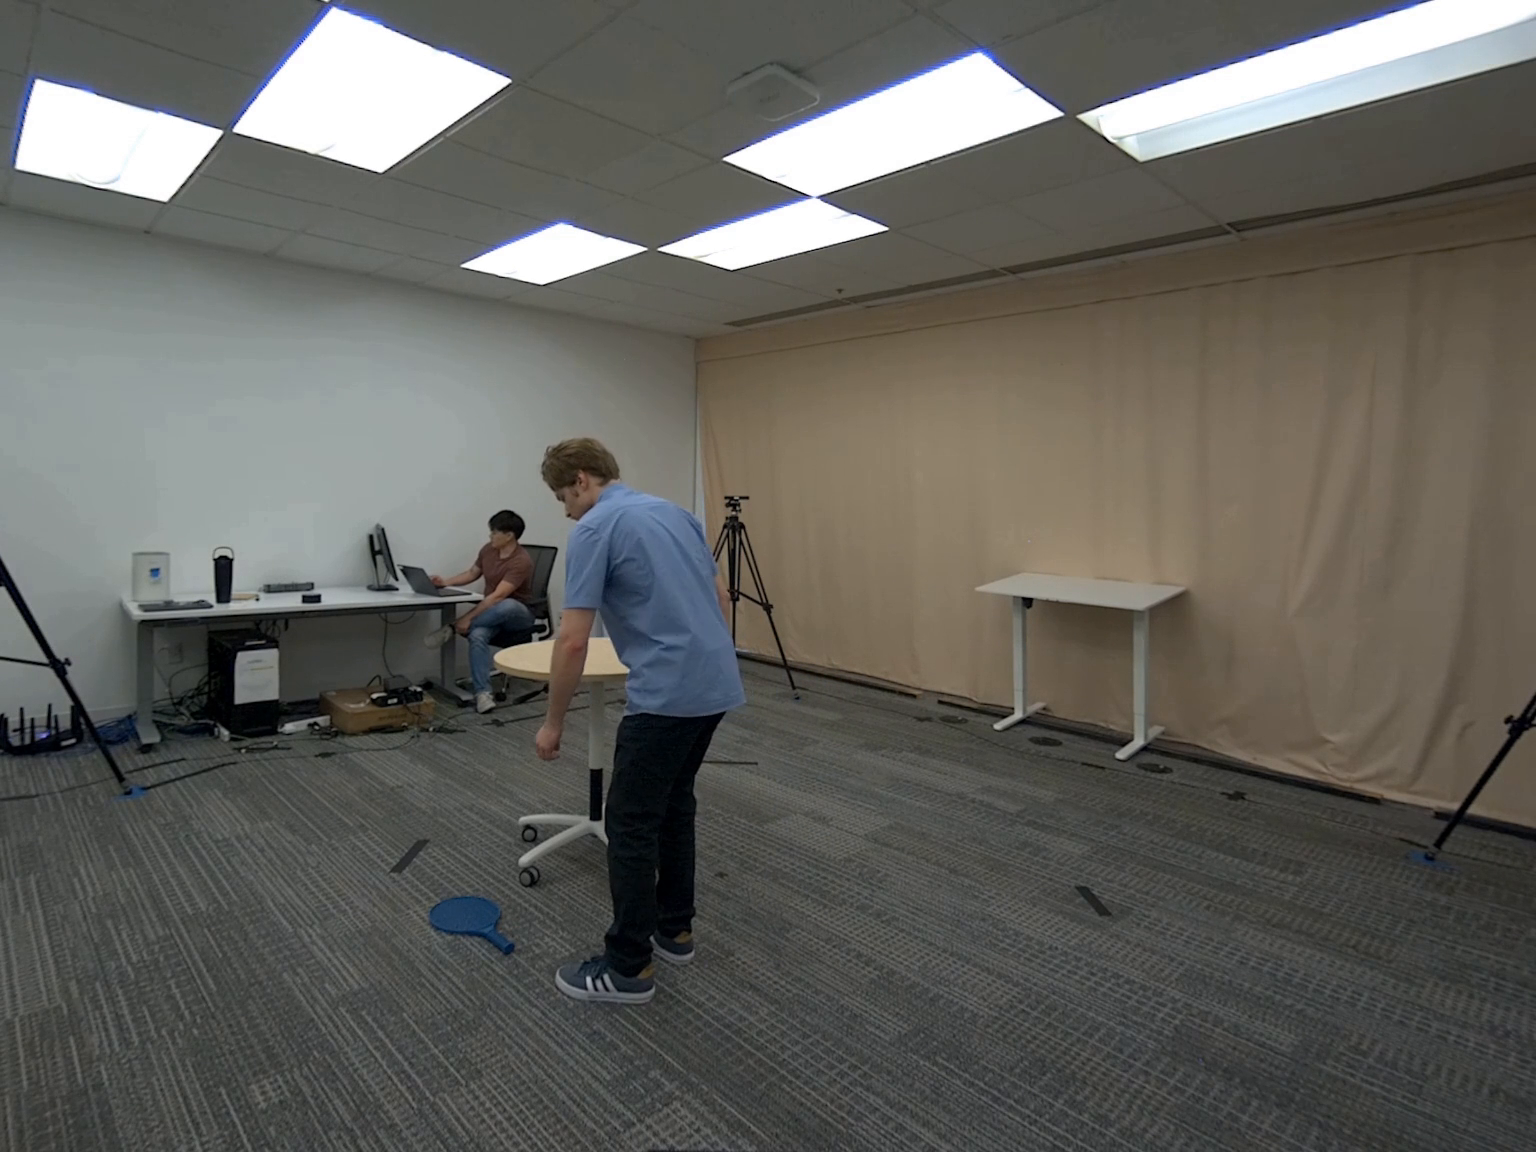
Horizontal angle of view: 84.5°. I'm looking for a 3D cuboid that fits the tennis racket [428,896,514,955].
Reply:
[{"bbox_3d":[-0.941,1.113,2.690,0.209,0.032,0.444,-4,6,-42],"label":"tennis racket"}]
